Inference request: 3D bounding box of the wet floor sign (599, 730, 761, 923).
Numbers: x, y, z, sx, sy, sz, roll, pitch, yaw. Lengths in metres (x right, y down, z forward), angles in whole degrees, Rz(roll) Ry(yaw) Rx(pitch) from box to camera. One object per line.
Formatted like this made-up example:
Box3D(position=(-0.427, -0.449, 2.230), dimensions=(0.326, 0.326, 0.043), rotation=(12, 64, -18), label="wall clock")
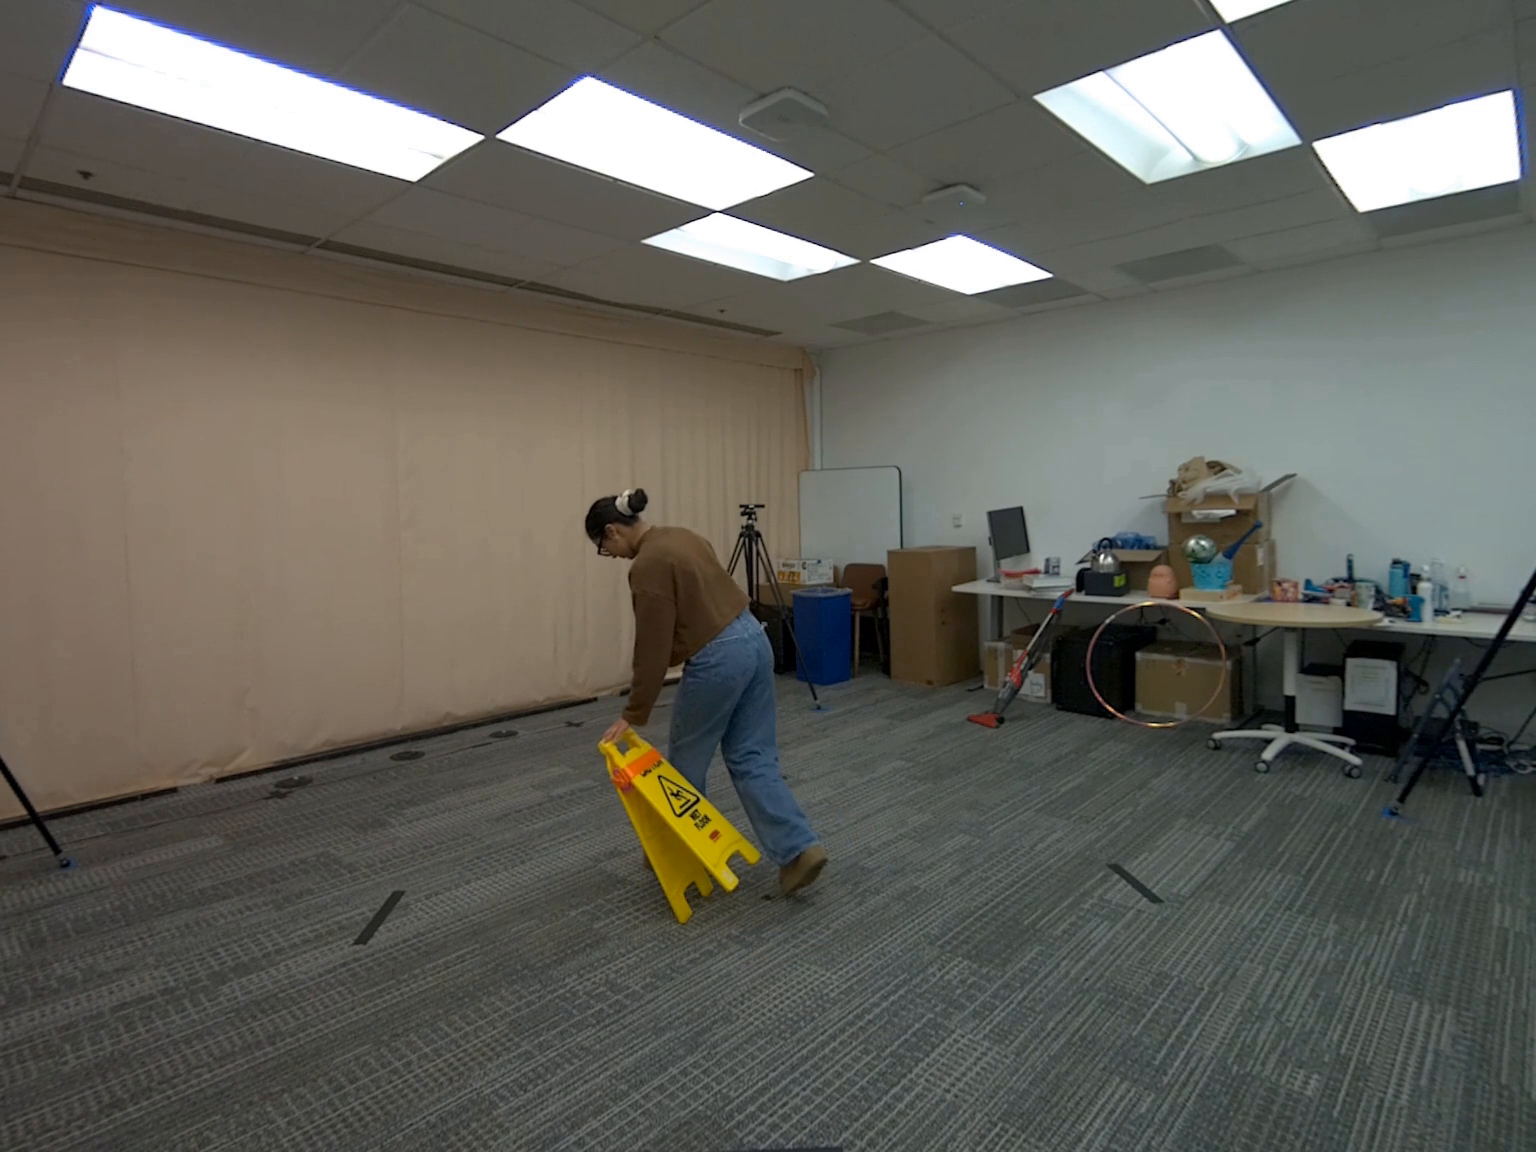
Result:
Box3D(position=(-0.355, 0.830, 2.939), dimensions=(0.292, 0.655, 0.276), rotation=(-41, -12, 20), label="wet floor sign")
